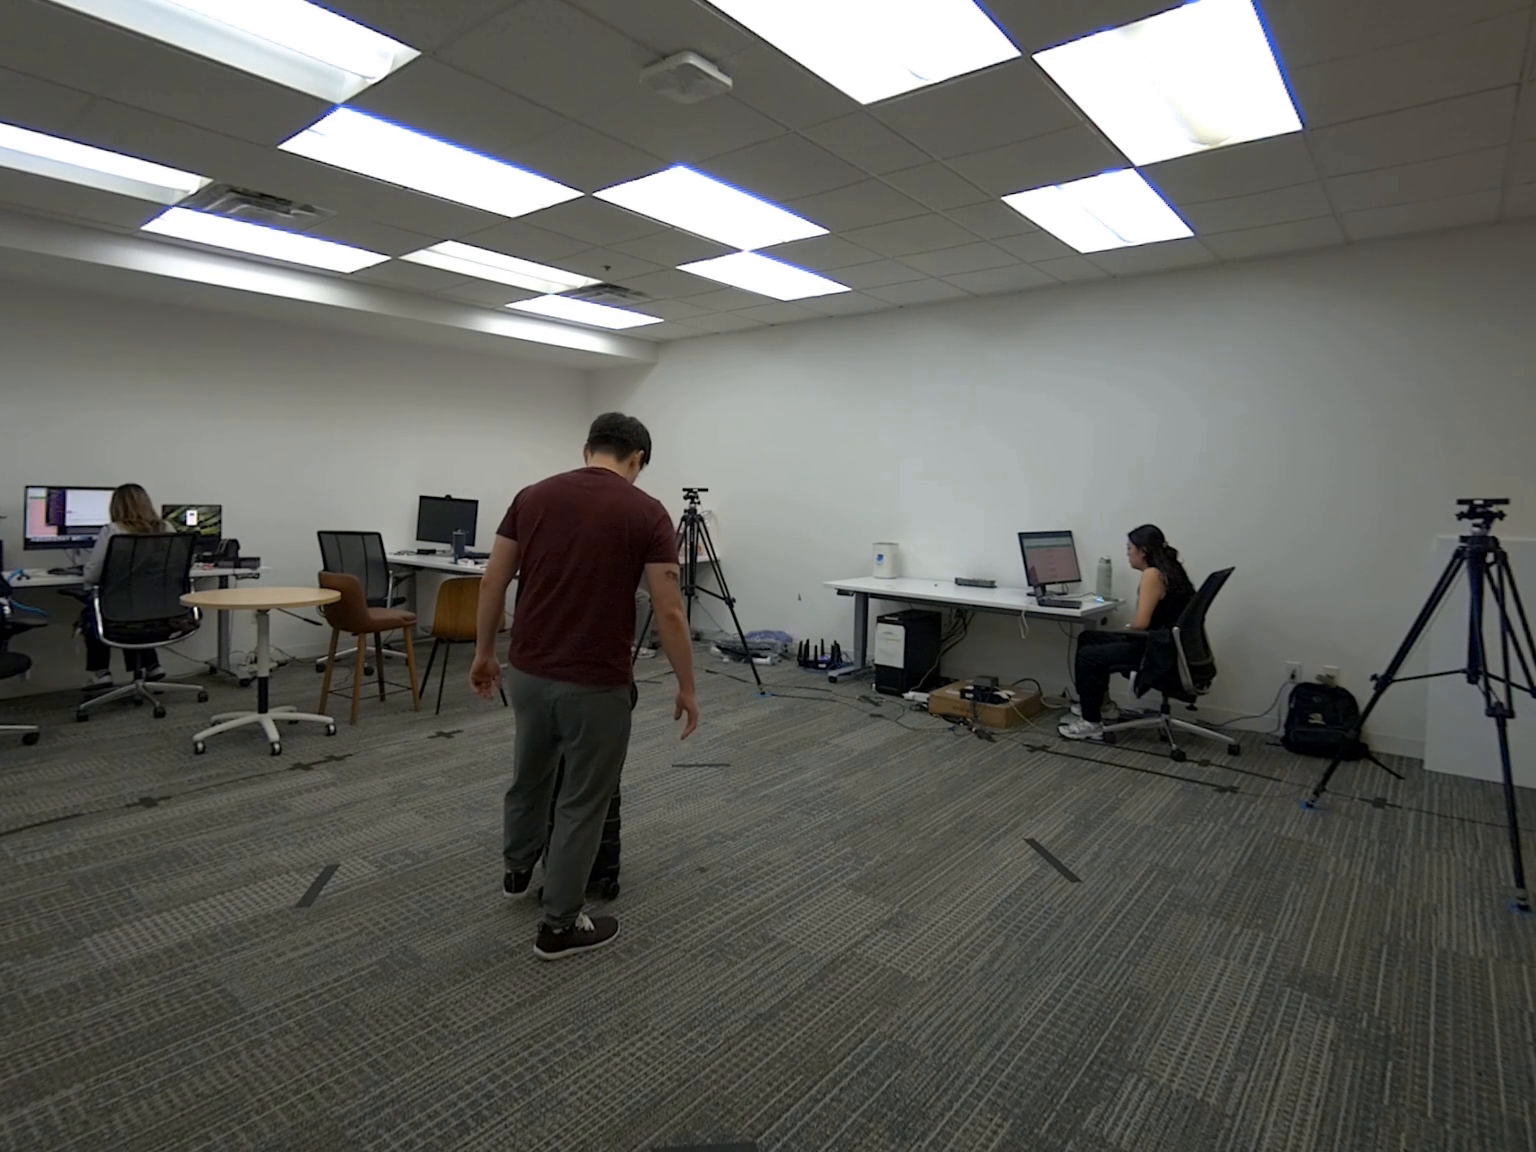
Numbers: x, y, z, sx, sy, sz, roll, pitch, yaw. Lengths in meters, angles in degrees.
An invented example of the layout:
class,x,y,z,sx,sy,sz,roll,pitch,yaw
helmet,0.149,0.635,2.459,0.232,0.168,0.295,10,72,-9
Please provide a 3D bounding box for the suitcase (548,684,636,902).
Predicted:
class,x,y,z,sx,sy,sz,roll,pitch,yaw
suitcase,-0.659,0.597,2.998,0.253,0.976,0.390,1,3,-14
